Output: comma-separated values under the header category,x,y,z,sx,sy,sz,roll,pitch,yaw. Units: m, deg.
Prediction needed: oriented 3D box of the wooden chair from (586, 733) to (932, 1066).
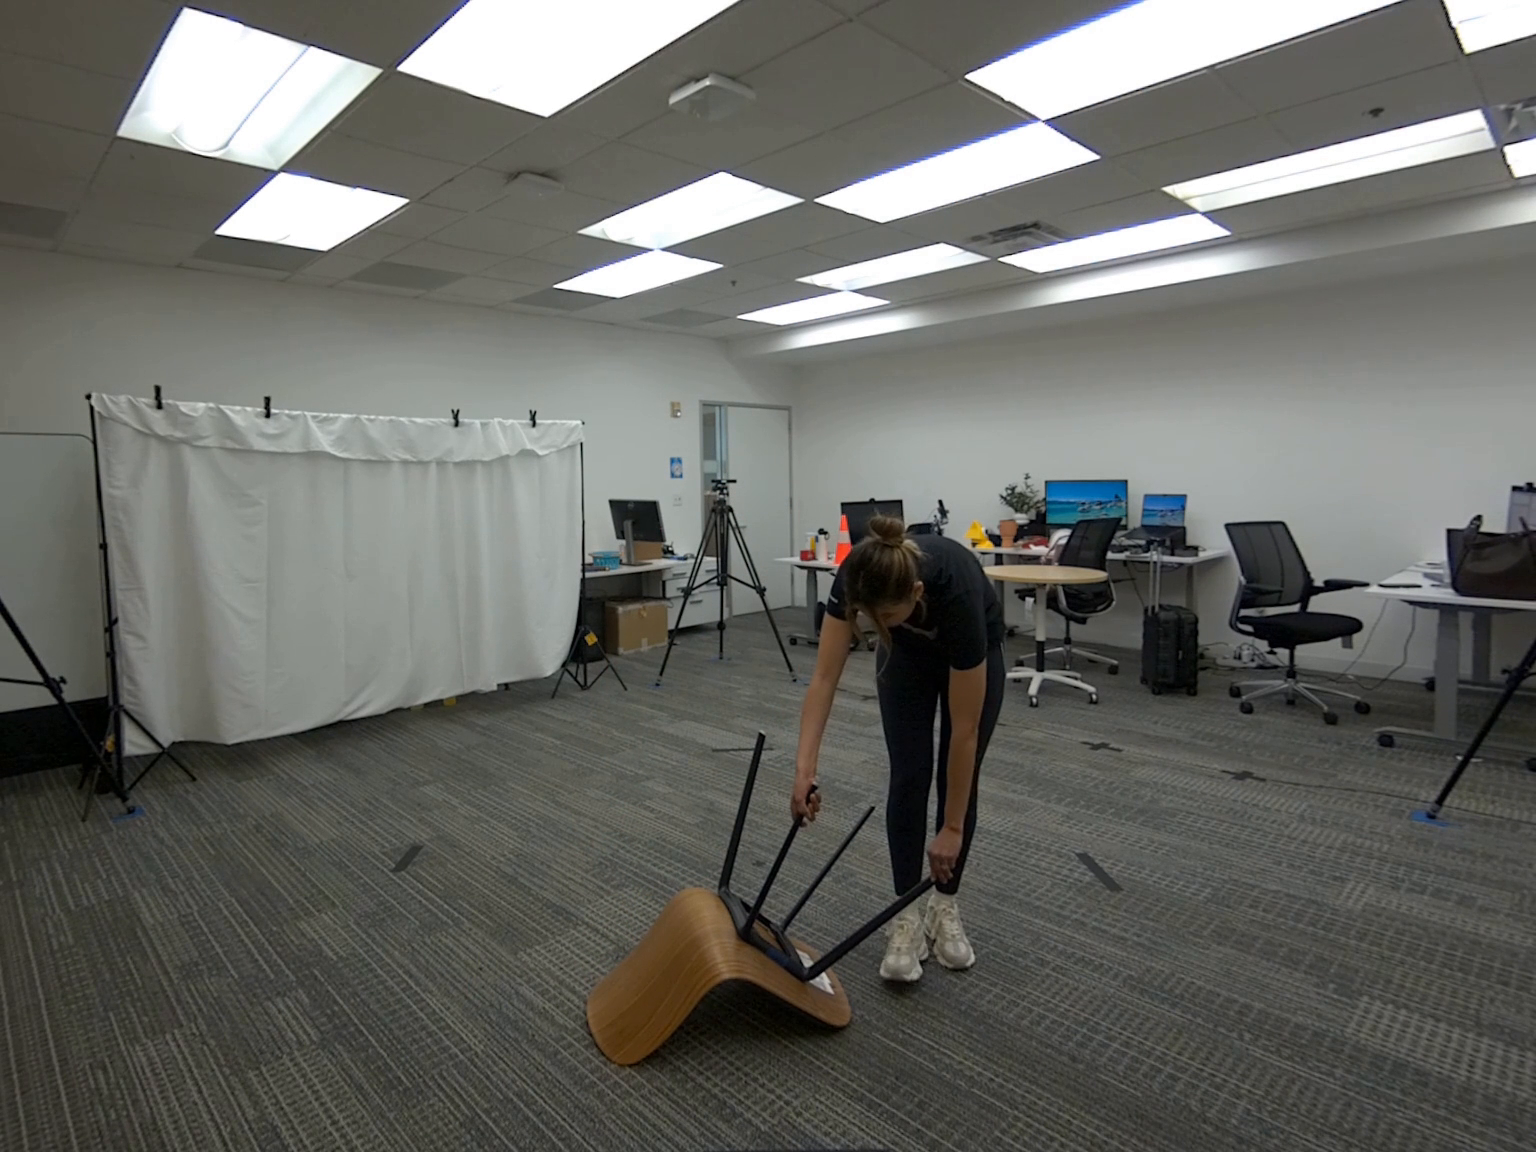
category,x,y,z,sx,sy,sz,roll,pitch,yaw
wooden chair,-0.006,0.968,2.313,0.513,0.878,0.487,39,-6,-16
